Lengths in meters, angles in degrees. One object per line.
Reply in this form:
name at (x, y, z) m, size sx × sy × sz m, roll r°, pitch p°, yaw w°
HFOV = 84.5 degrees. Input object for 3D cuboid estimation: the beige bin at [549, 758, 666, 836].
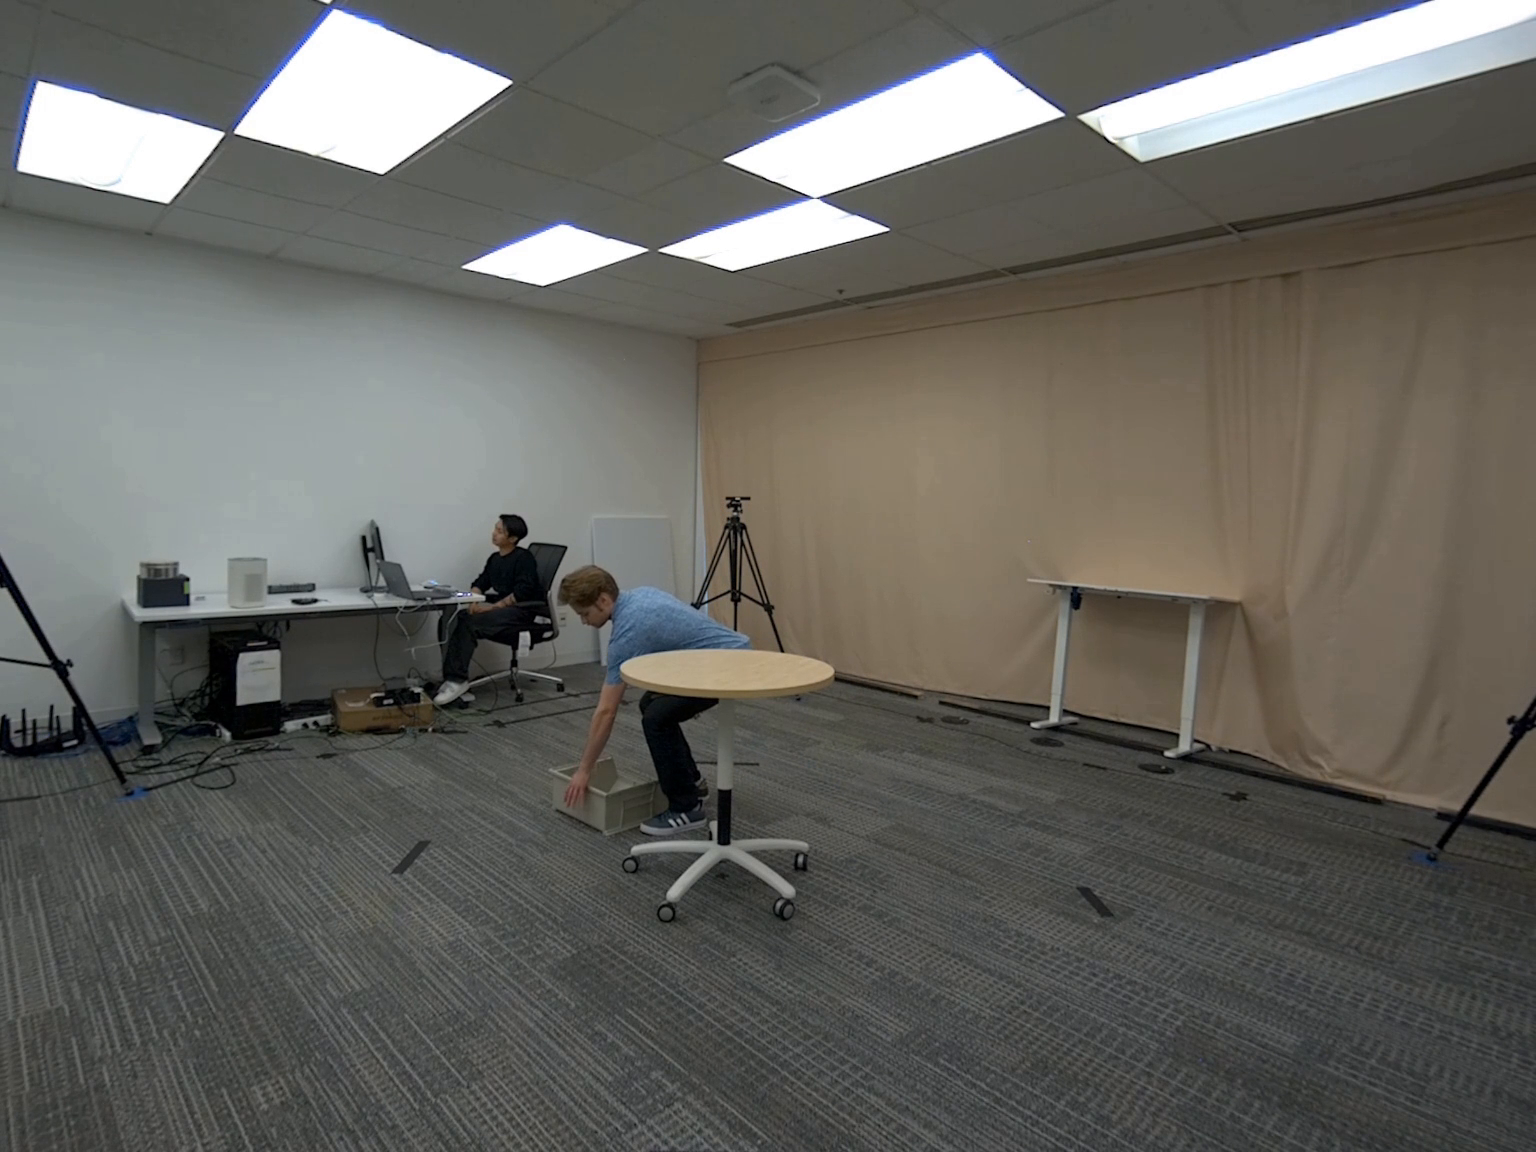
beige bin at (-0.699, 0.954, 3.704) m, size 0.433 × 0.188 × 0.369 m, roll 6°, pitch 7°, yaw 43°
